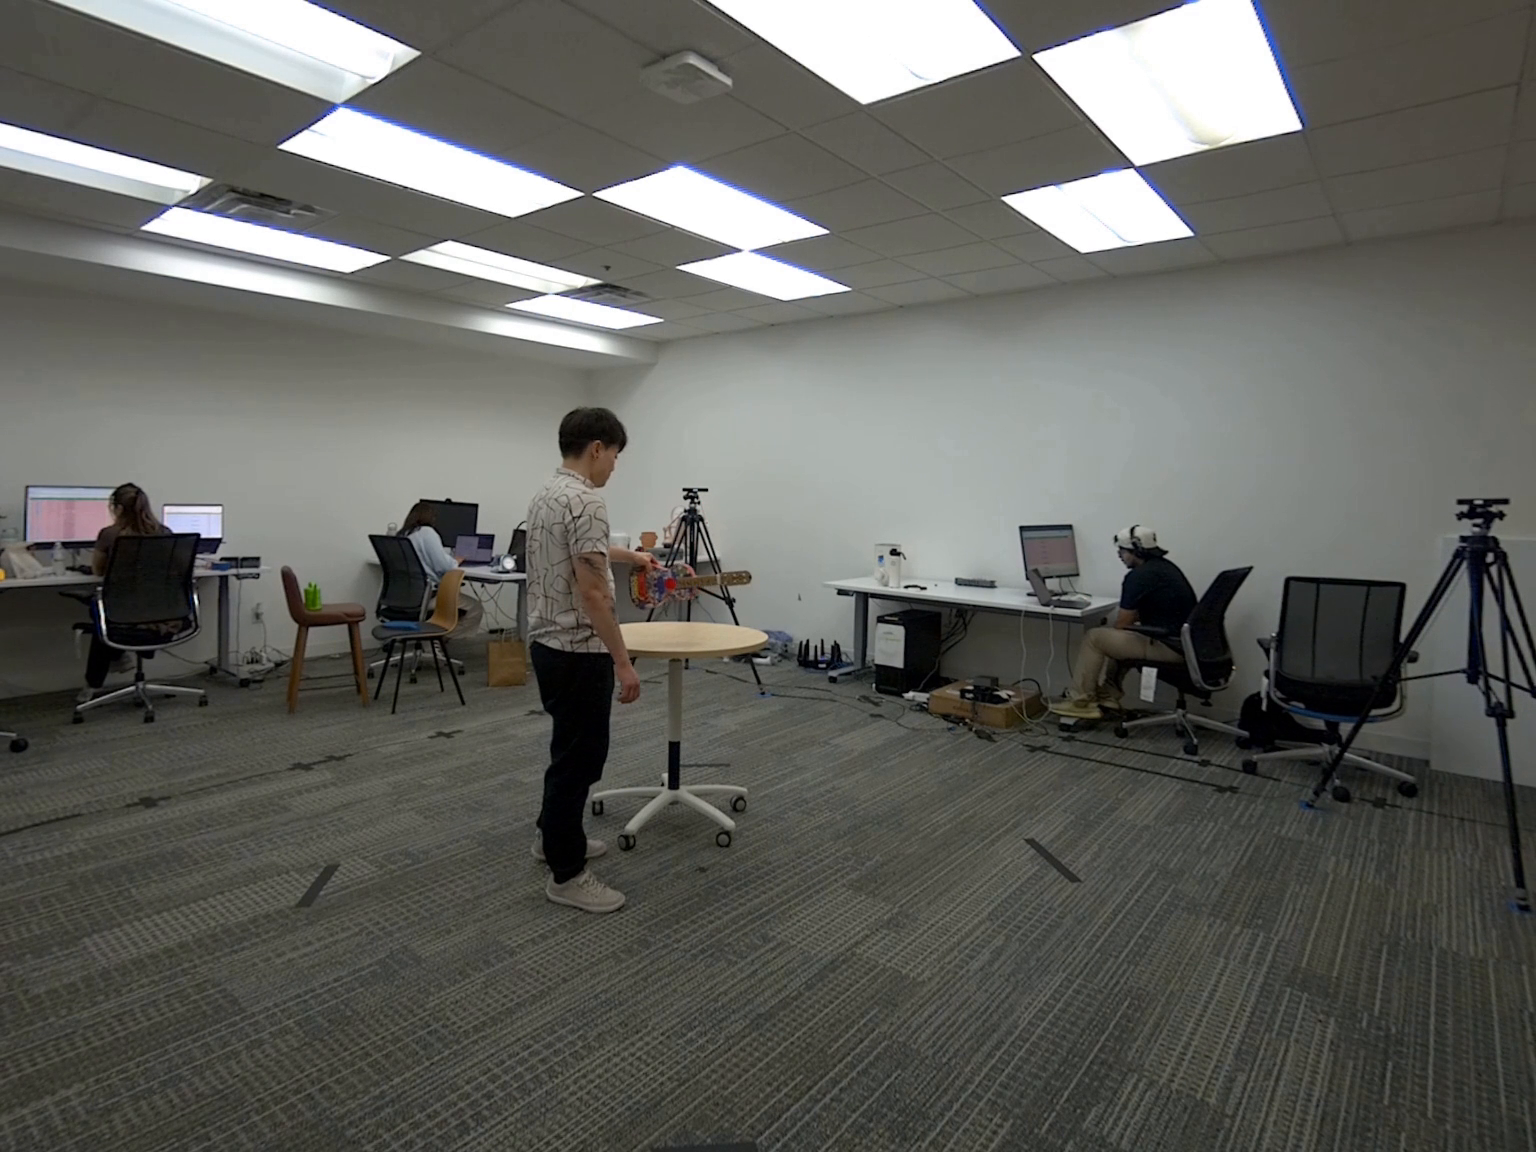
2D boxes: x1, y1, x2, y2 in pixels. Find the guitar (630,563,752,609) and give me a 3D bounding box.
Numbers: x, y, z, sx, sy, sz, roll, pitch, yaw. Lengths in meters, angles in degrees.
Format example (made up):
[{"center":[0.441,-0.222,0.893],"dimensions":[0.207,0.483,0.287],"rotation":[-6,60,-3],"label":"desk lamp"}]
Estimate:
[{"center":[-0.321,0.049,3.385],"dimensions":[0.504,0.192,0.070],"rotation":[4,3,11],"label":"guitar"}]
